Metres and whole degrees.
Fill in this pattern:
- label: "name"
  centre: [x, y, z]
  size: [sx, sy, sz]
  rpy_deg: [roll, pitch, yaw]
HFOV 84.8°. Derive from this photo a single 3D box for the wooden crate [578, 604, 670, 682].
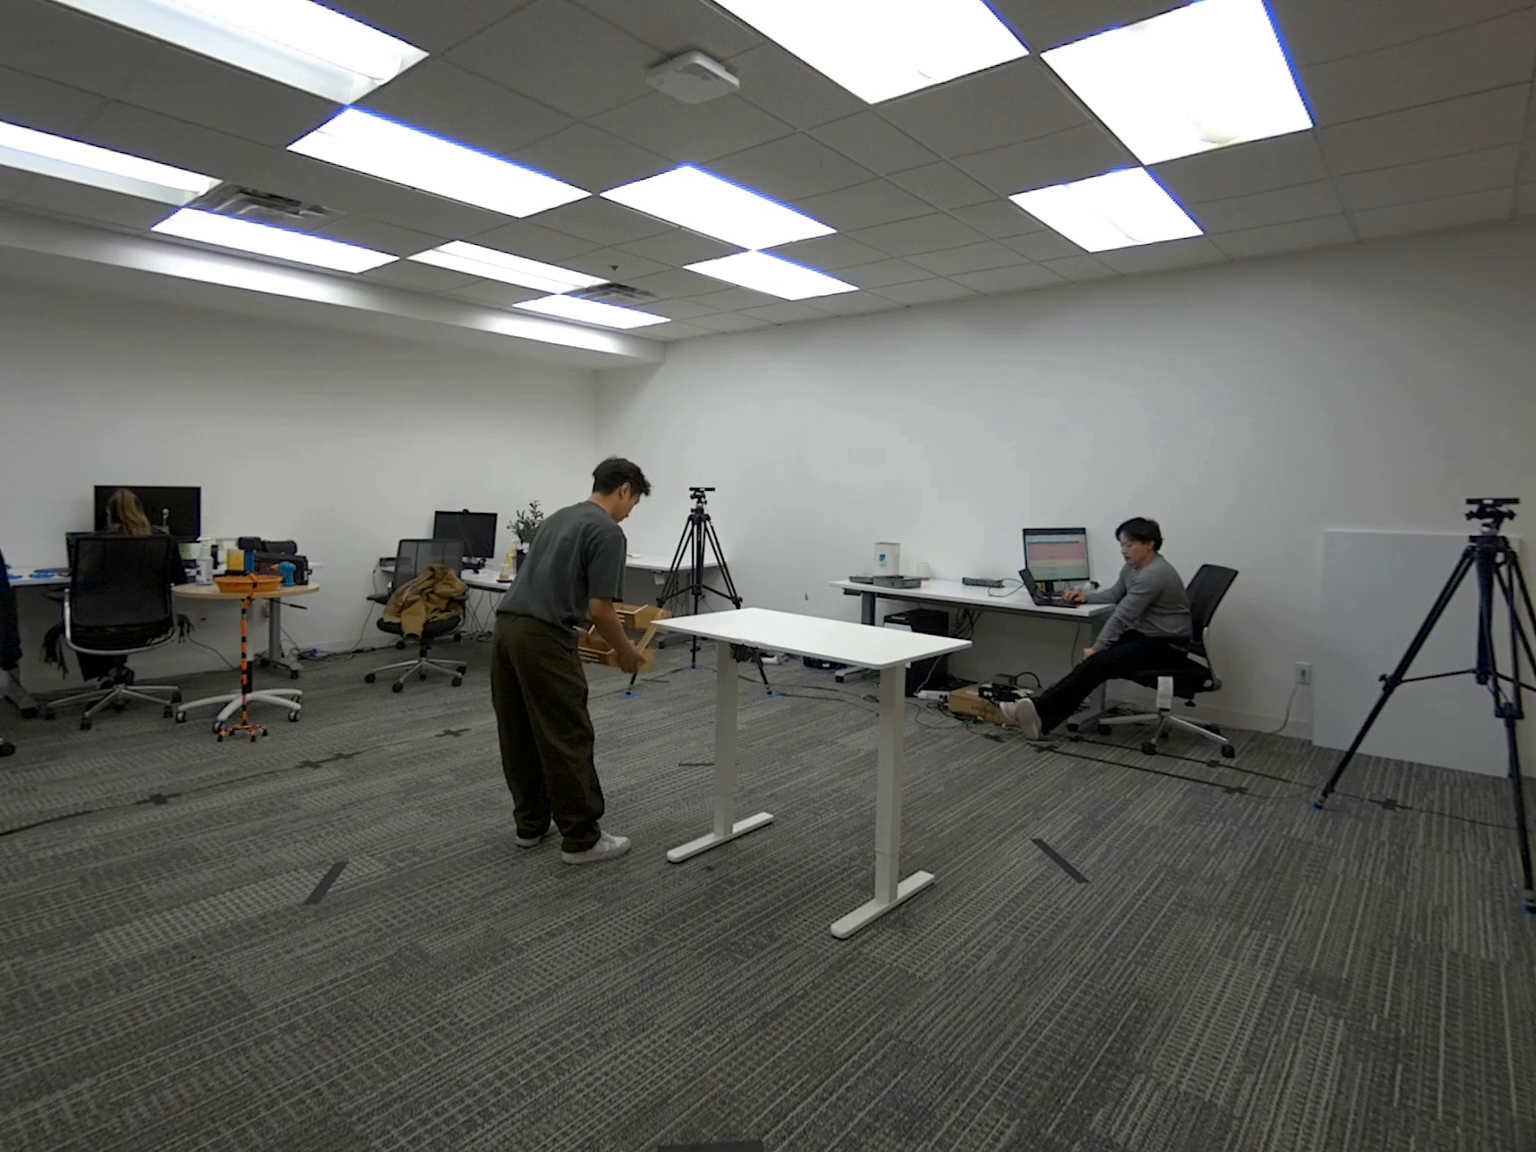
- label: "wooden crate"
  centre: [-0.633, 0.225, 3.445]
  size: [0.335, 0.275, 0.290]
  rpy_deg: [5, -9, 40]
